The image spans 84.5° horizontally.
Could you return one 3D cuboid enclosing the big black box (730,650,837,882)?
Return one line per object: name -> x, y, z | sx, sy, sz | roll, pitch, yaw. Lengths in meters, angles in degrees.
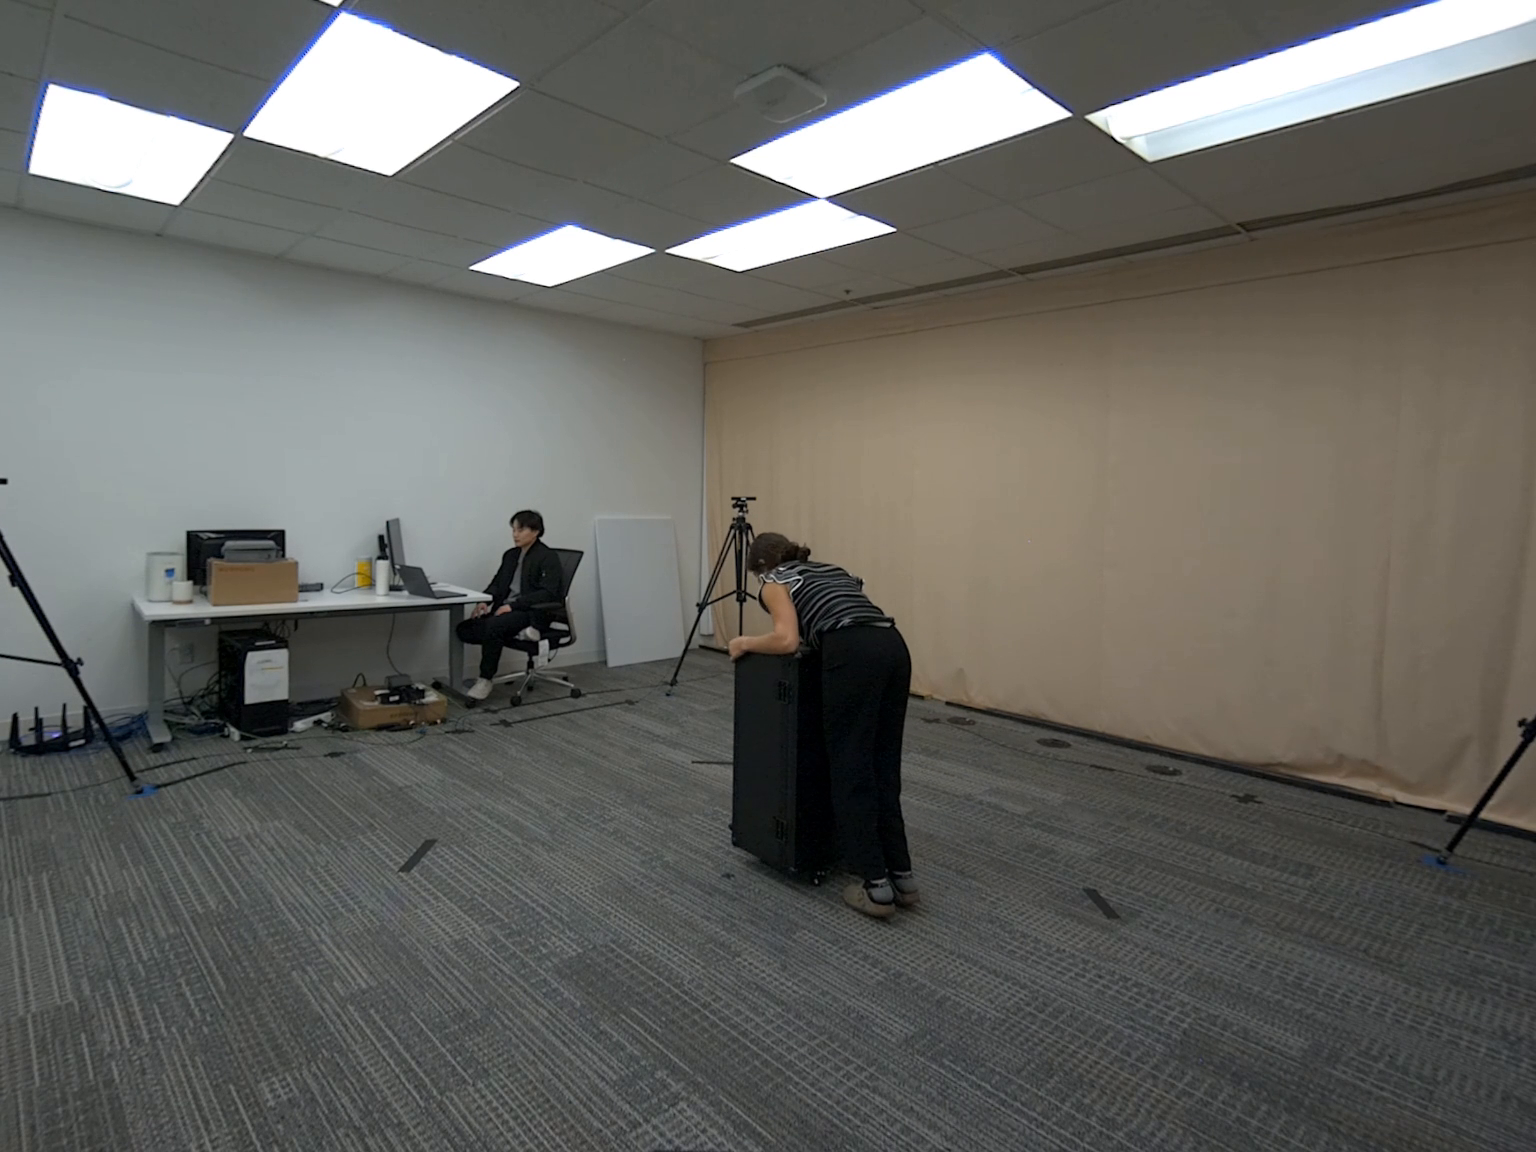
big black box -> 0.140, 0.687, 3.229 | 0.509, 0.861, 0.406 | -1, 2, -39
